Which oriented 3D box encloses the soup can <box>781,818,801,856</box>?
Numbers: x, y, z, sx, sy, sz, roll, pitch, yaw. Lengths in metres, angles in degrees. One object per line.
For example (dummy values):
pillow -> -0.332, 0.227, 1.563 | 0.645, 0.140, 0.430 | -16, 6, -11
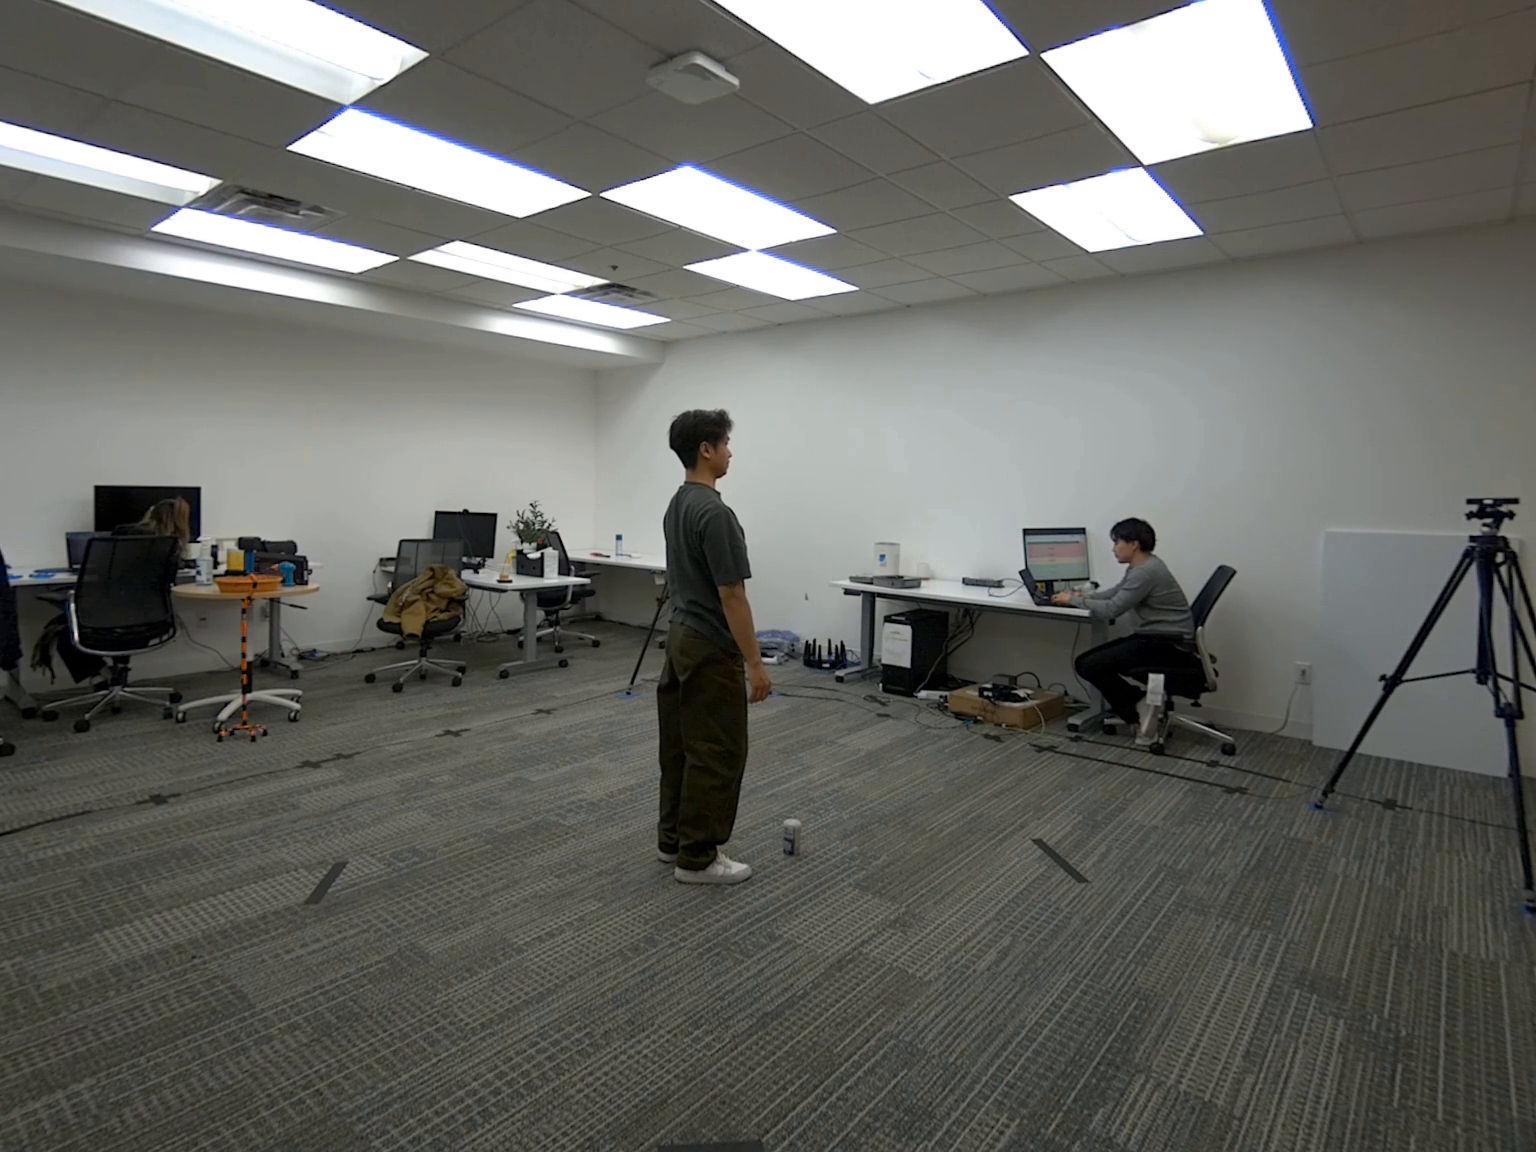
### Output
soup can -> 0.083, 1.003, 3.253 | 0.067, 0.121, 0.067 | 2, 4, -2
